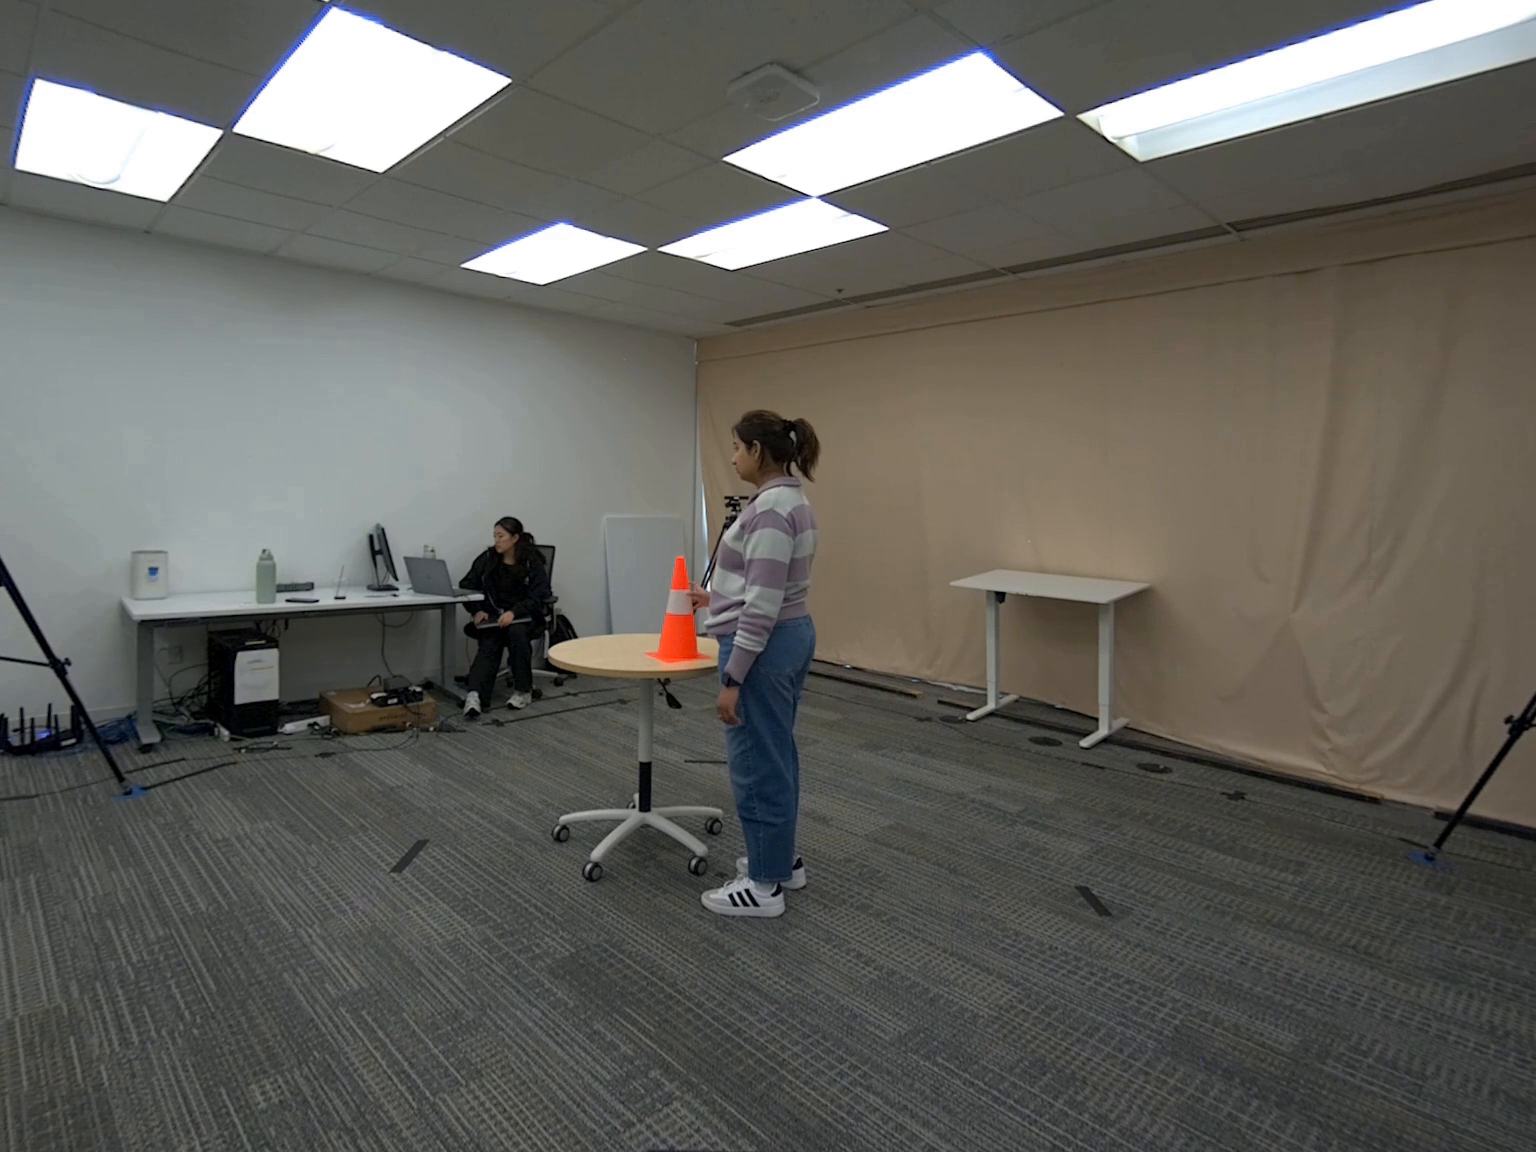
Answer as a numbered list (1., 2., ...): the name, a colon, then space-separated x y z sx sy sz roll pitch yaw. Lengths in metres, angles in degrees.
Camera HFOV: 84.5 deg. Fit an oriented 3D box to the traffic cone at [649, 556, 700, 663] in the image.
1. traffic cone: -0.343 0.120 3.205 0.200 0.383 0.208 0 4 -41
